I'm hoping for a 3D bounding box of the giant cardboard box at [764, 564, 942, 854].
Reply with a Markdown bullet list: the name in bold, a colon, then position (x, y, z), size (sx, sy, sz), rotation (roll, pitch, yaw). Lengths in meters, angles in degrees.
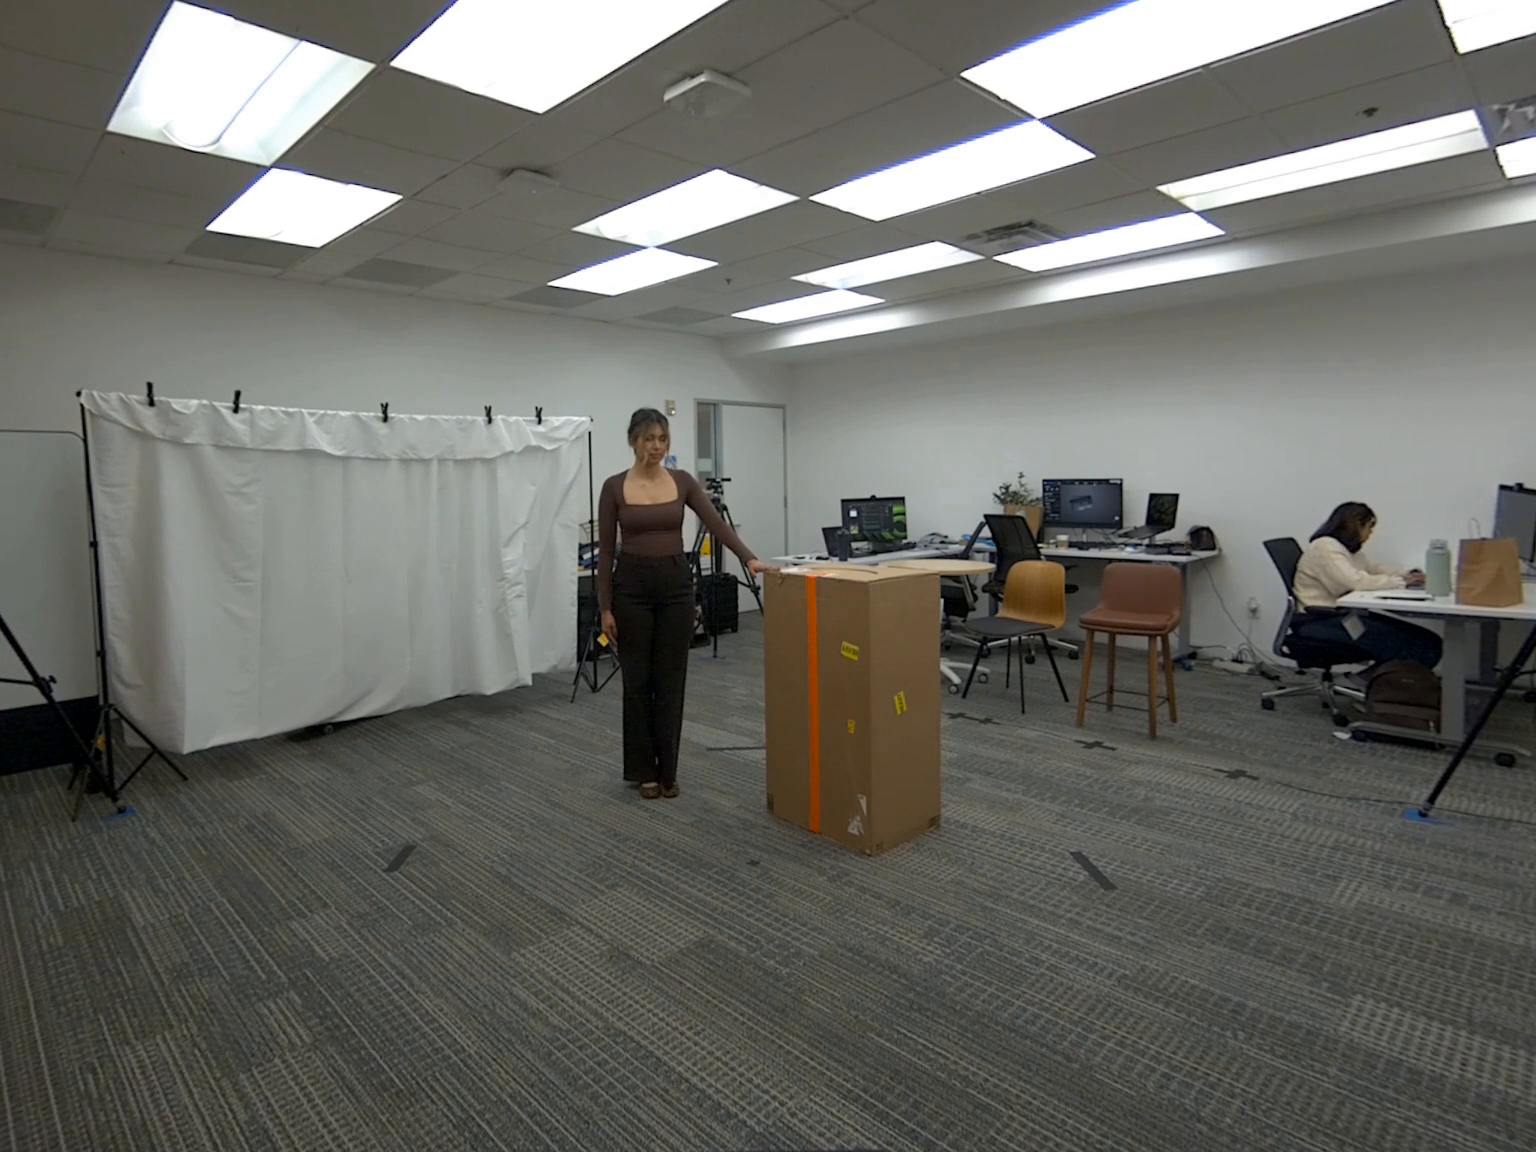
- **giant cardboard box**: position (0.335, 0.486, 3.456), size (0.435, 1.023, 0.602), rotation (-5, 6, -39)
